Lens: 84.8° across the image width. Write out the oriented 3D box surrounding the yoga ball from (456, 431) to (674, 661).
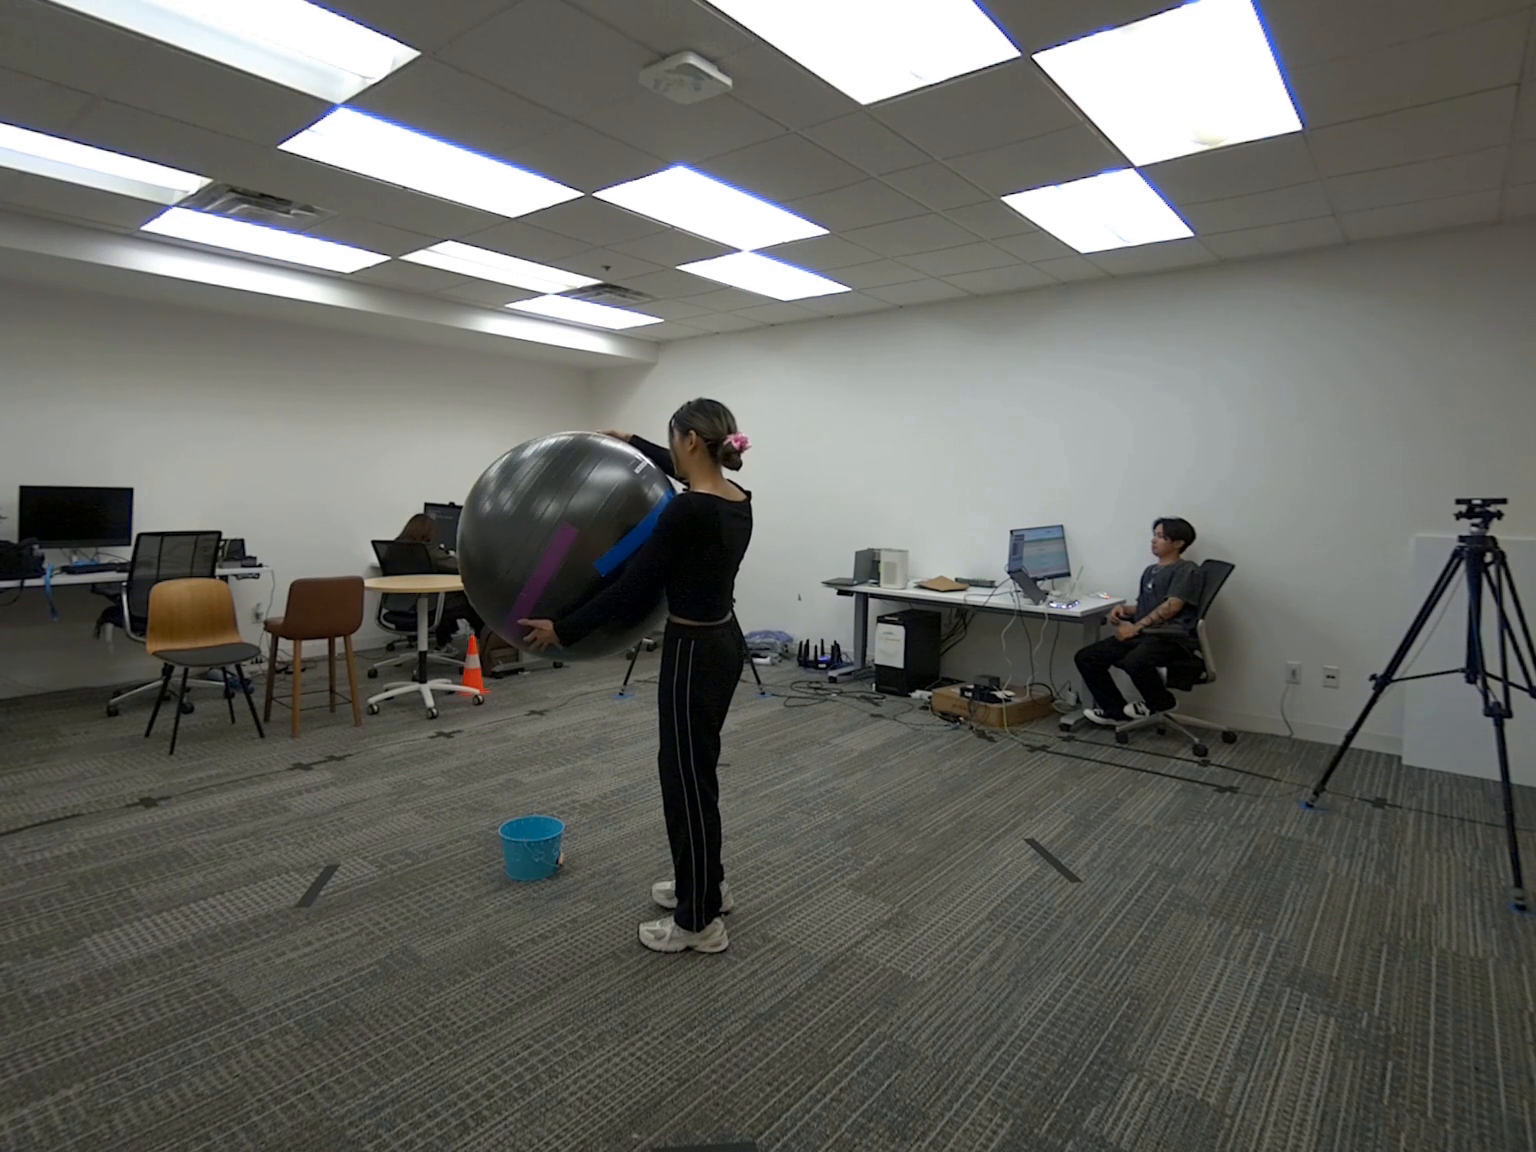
[{"bbox_3d":[-0.654,-0.095,2.807,0.757,0.755,0.762,1,4,-2],"label":"yoga ball"}]
